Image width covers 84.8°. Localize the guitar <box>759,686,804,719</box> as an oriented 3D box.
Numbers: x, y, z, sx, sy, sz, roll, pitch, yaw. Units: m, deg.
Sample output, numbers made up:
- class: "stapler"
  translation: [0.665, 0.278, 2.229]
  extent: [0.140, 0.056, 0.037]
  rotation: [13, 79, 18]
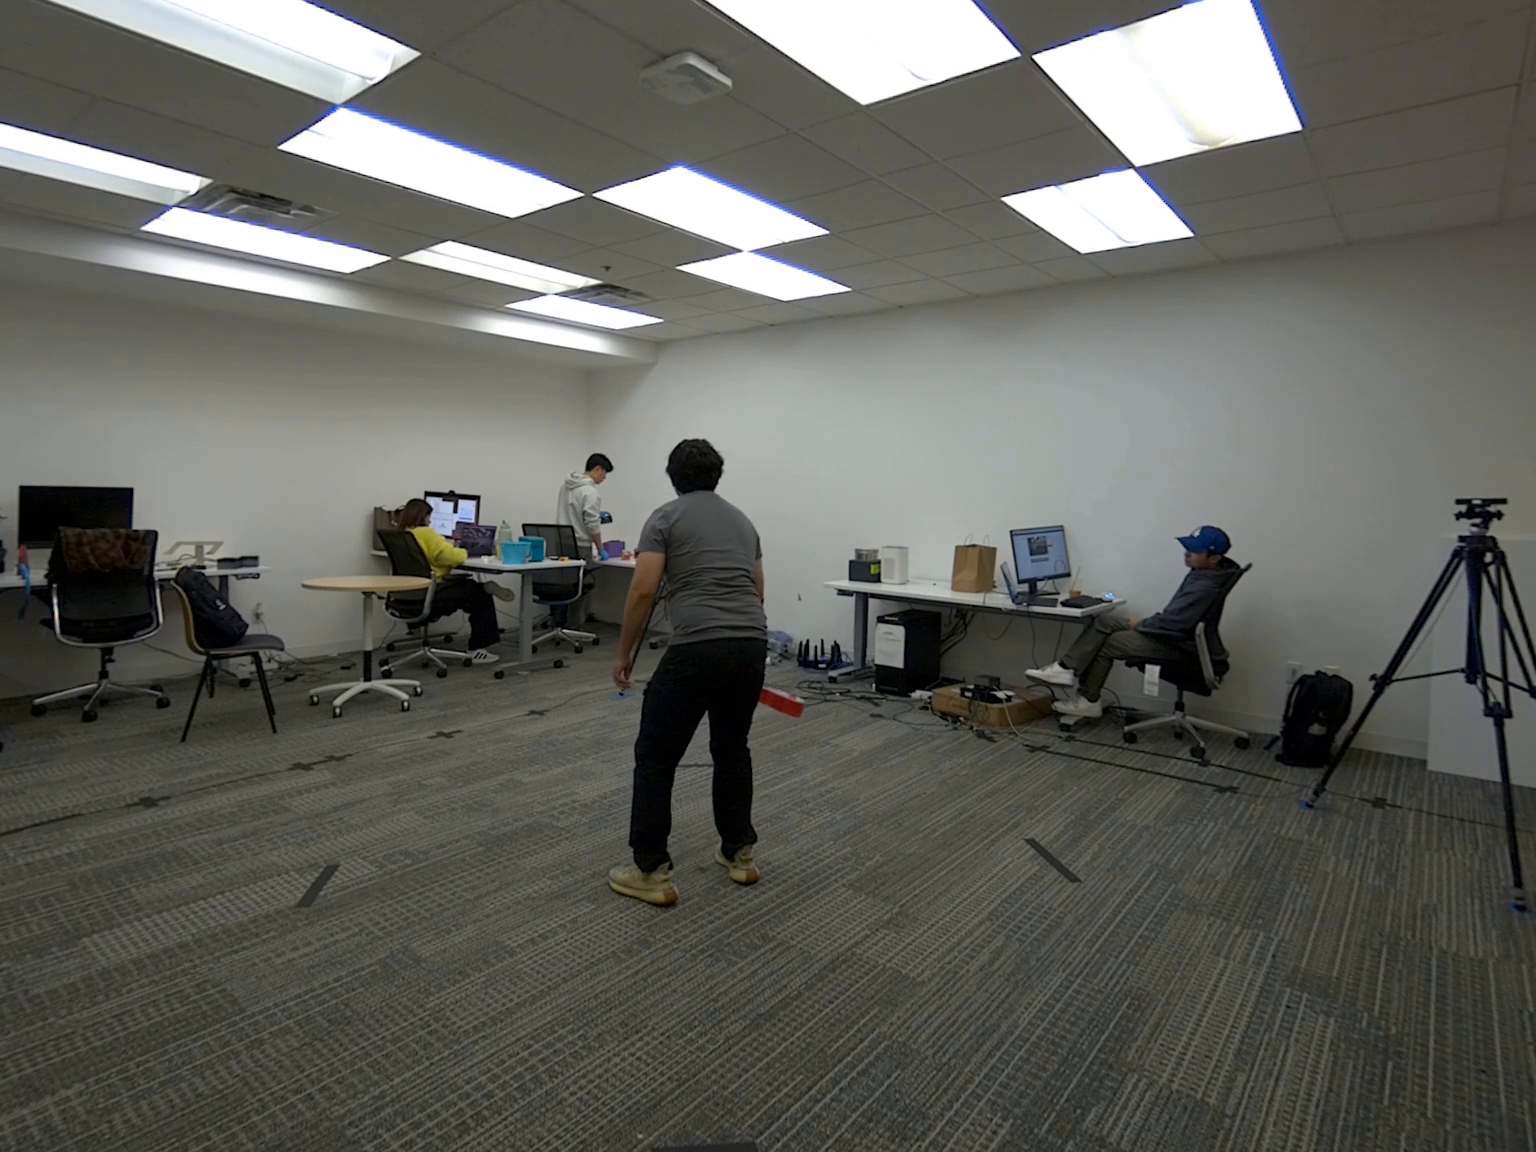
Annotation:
- class: "guitar"
  translation: [-0.095, 0.439, 3.367]
  extent: [0.509, 0.070, 0.189]
  rotation: [20, 2, 16]
